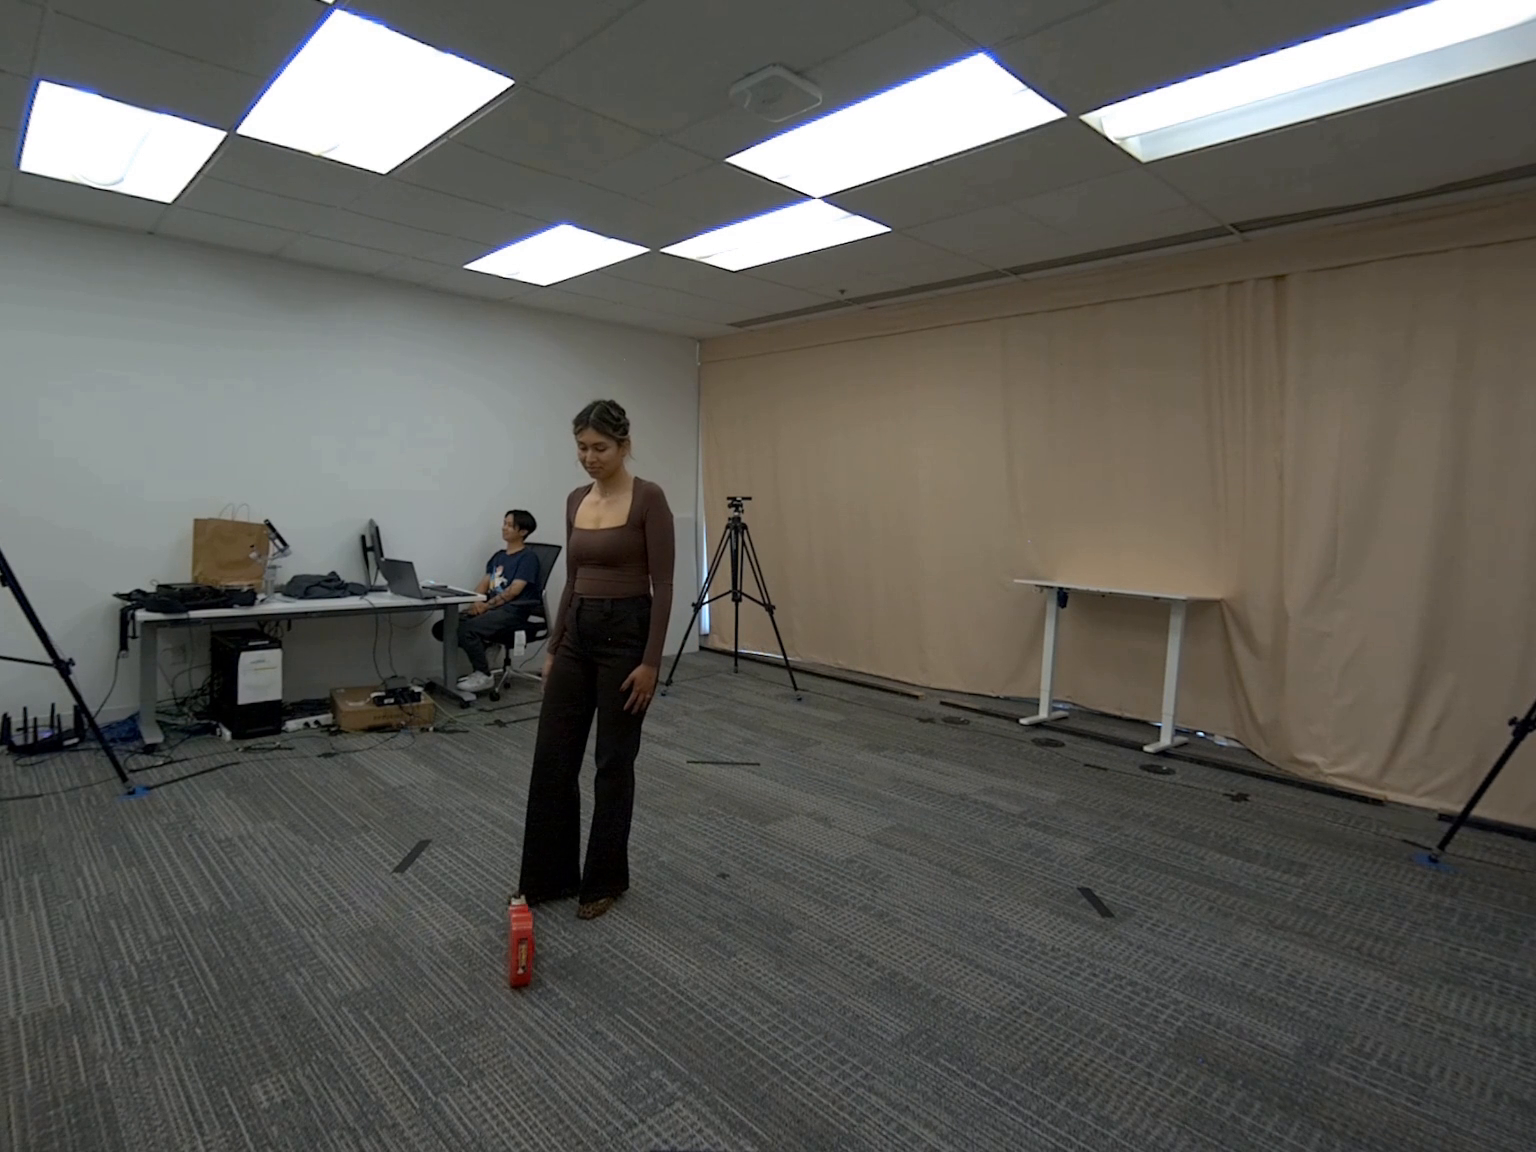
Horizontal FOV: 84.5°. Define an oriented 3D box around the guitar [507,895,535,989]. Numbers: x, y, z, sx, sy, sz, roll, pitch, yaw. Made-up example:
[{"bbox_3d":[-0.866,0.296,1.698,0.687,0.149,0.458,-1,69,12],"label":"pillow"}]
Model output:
[{"bbox_3d":[-0.770,1.102,2.559,0.070,0.195,0.499,3,-13,-17],"label":"guitar"}]
